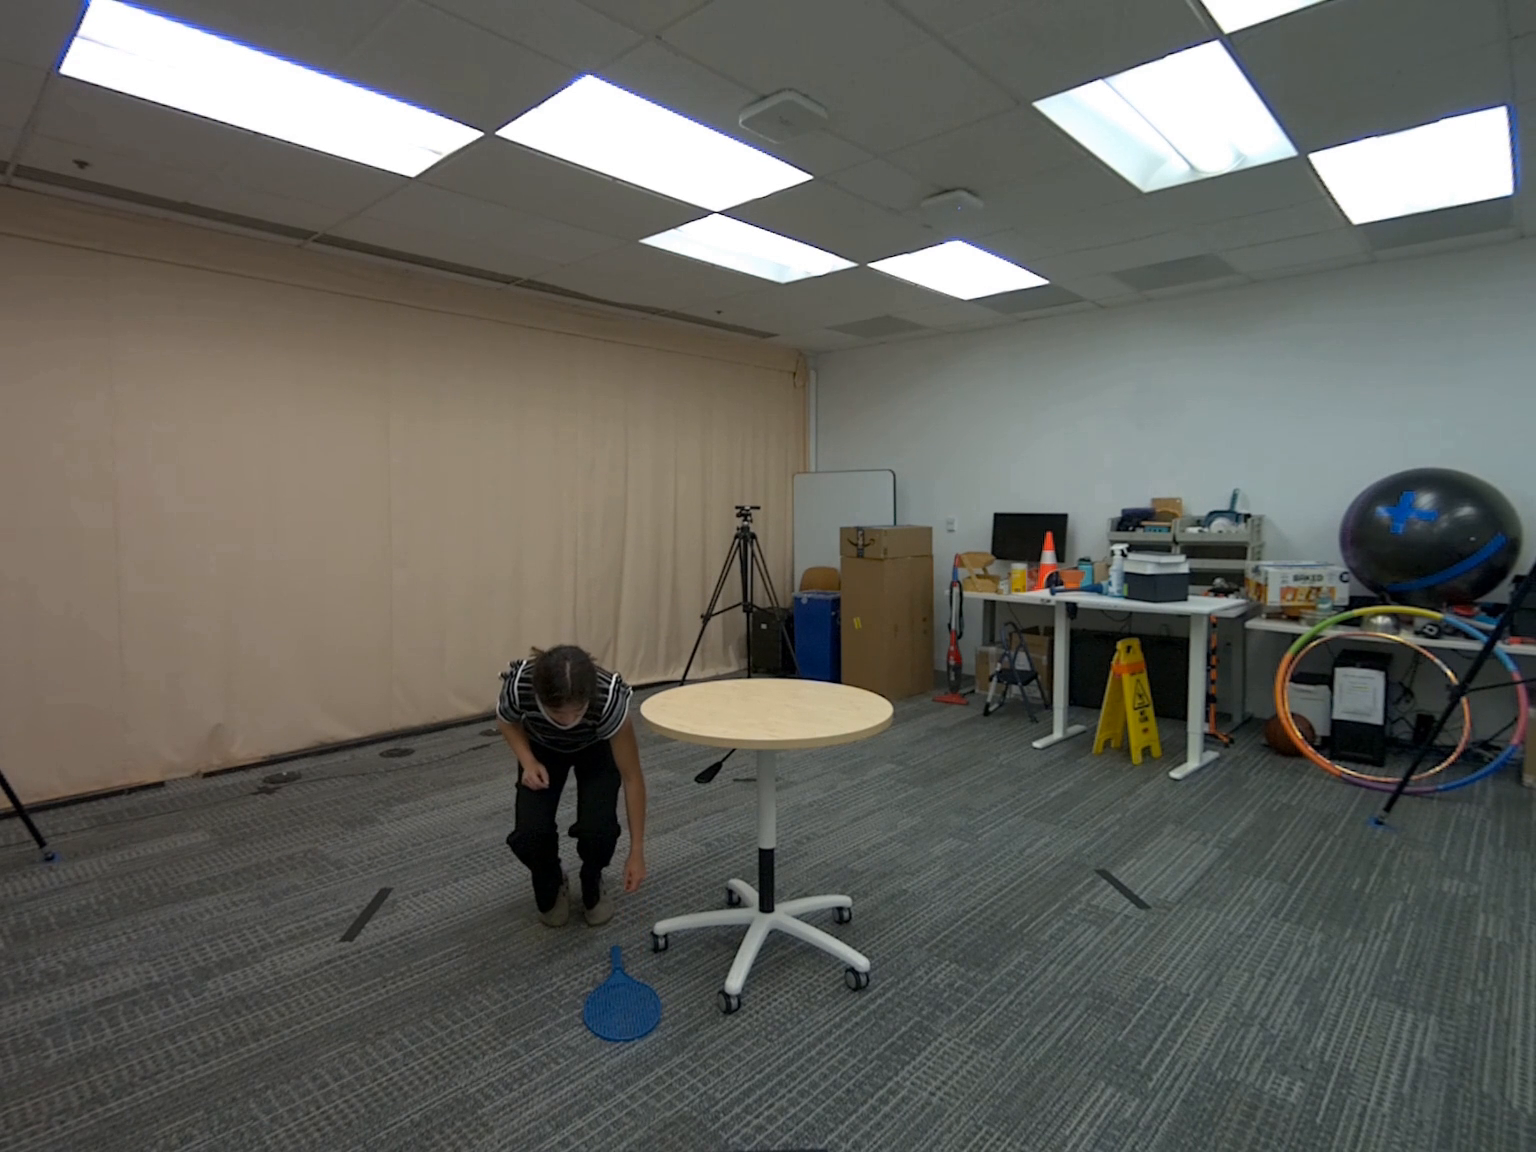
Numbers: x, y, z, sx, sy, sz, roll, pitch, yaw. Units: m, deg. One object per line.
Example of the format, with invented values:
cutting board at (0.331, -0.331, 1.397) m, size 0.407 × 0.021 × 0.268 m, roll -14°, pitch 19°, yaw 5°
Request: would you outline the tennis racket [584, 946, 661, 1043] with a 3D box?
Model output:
tennis racket at (-0.389, 1.160, 2.415) m, size 0.212 × 0.031 × 0.438 m, roll -2°, pitch 6°, yaw -10°
